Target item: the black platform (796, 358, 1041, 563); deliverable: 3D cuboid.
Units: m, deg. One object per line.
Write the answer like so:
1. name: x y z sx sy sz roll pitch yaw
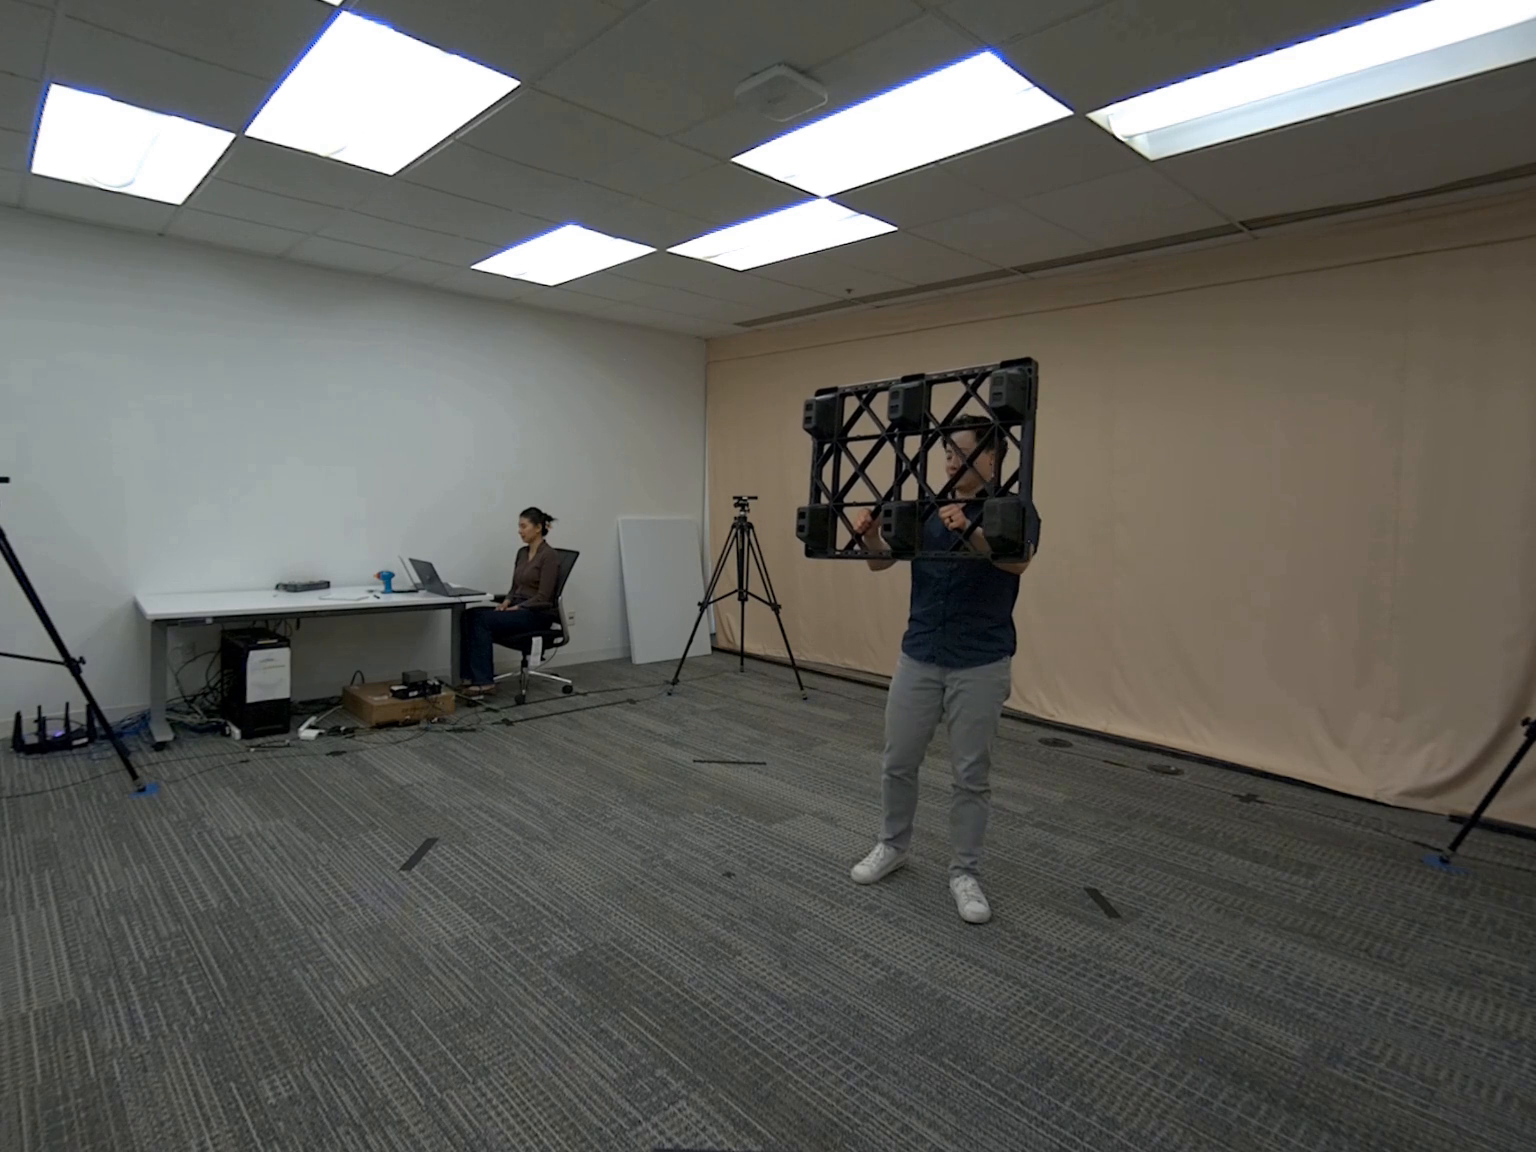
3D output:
1. black platform: 0.424 -0.348 2.655 0.825 0.606 0.139 2 -4 42
